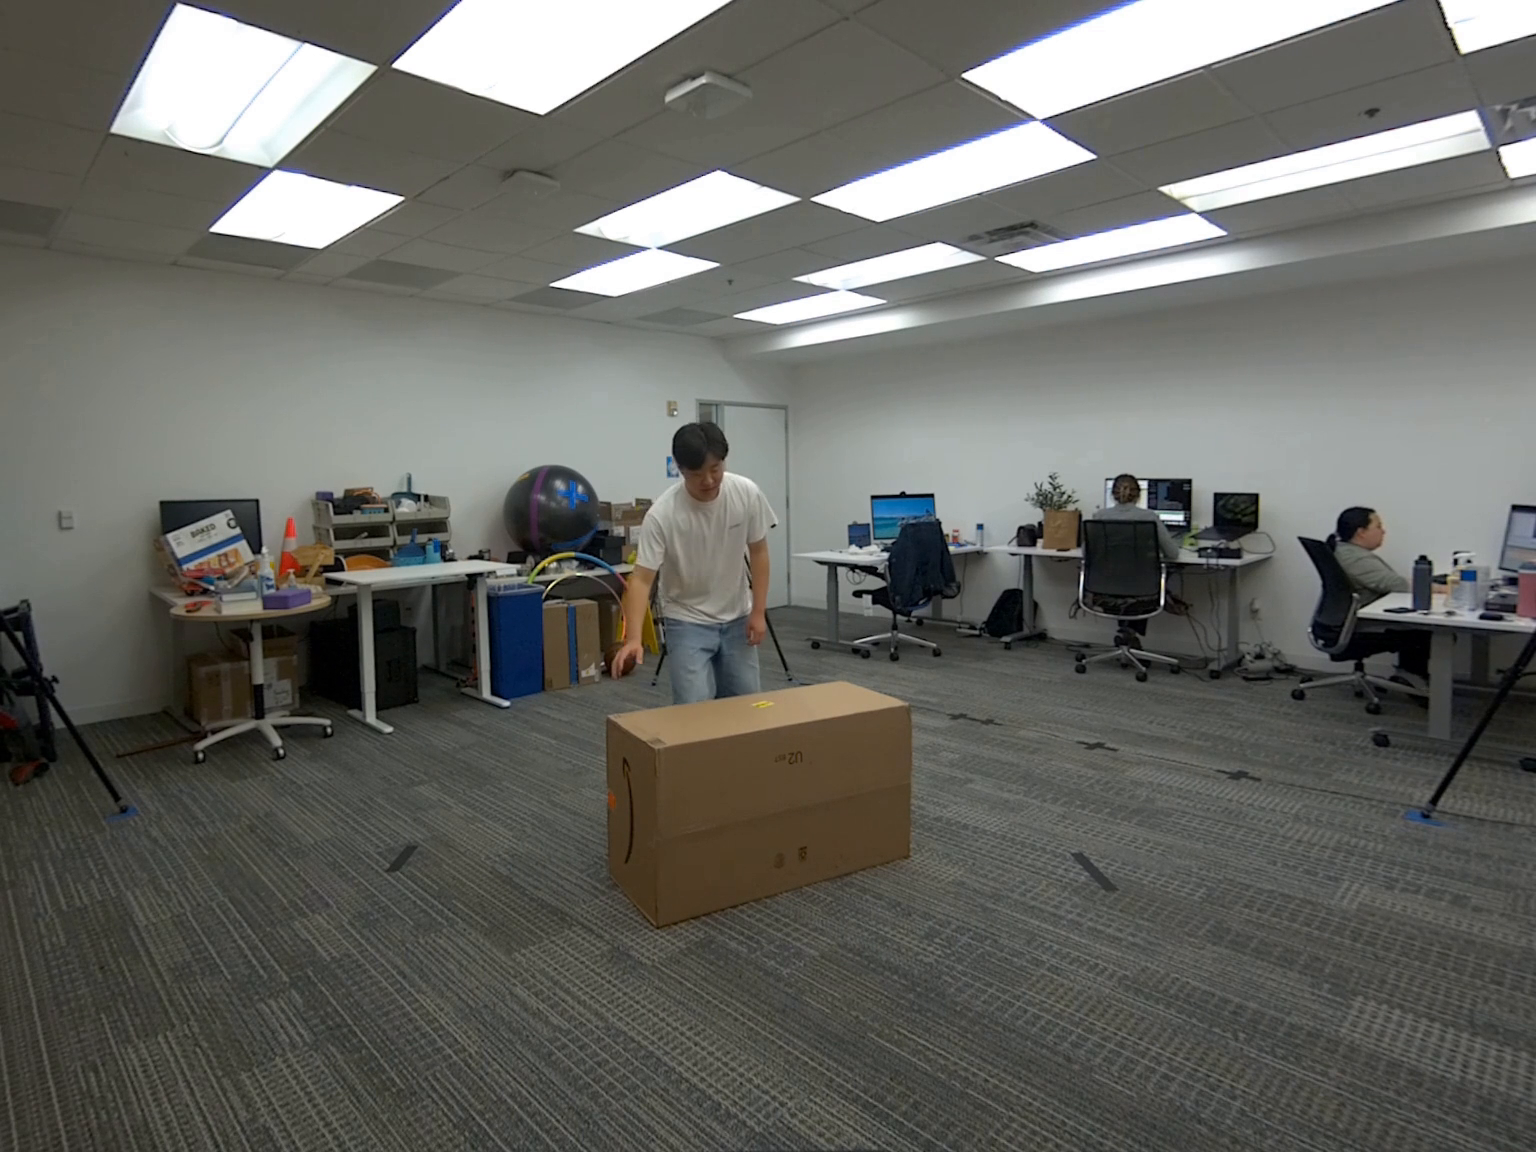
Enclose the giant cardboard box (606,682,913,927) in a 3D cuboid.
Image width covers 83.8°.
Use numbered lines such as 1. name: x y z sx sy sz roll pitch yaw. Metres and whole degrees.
1. giant cardboard box: -0.023 0.763 3.061 1.003 0.575 0.438 -4 6 -28
